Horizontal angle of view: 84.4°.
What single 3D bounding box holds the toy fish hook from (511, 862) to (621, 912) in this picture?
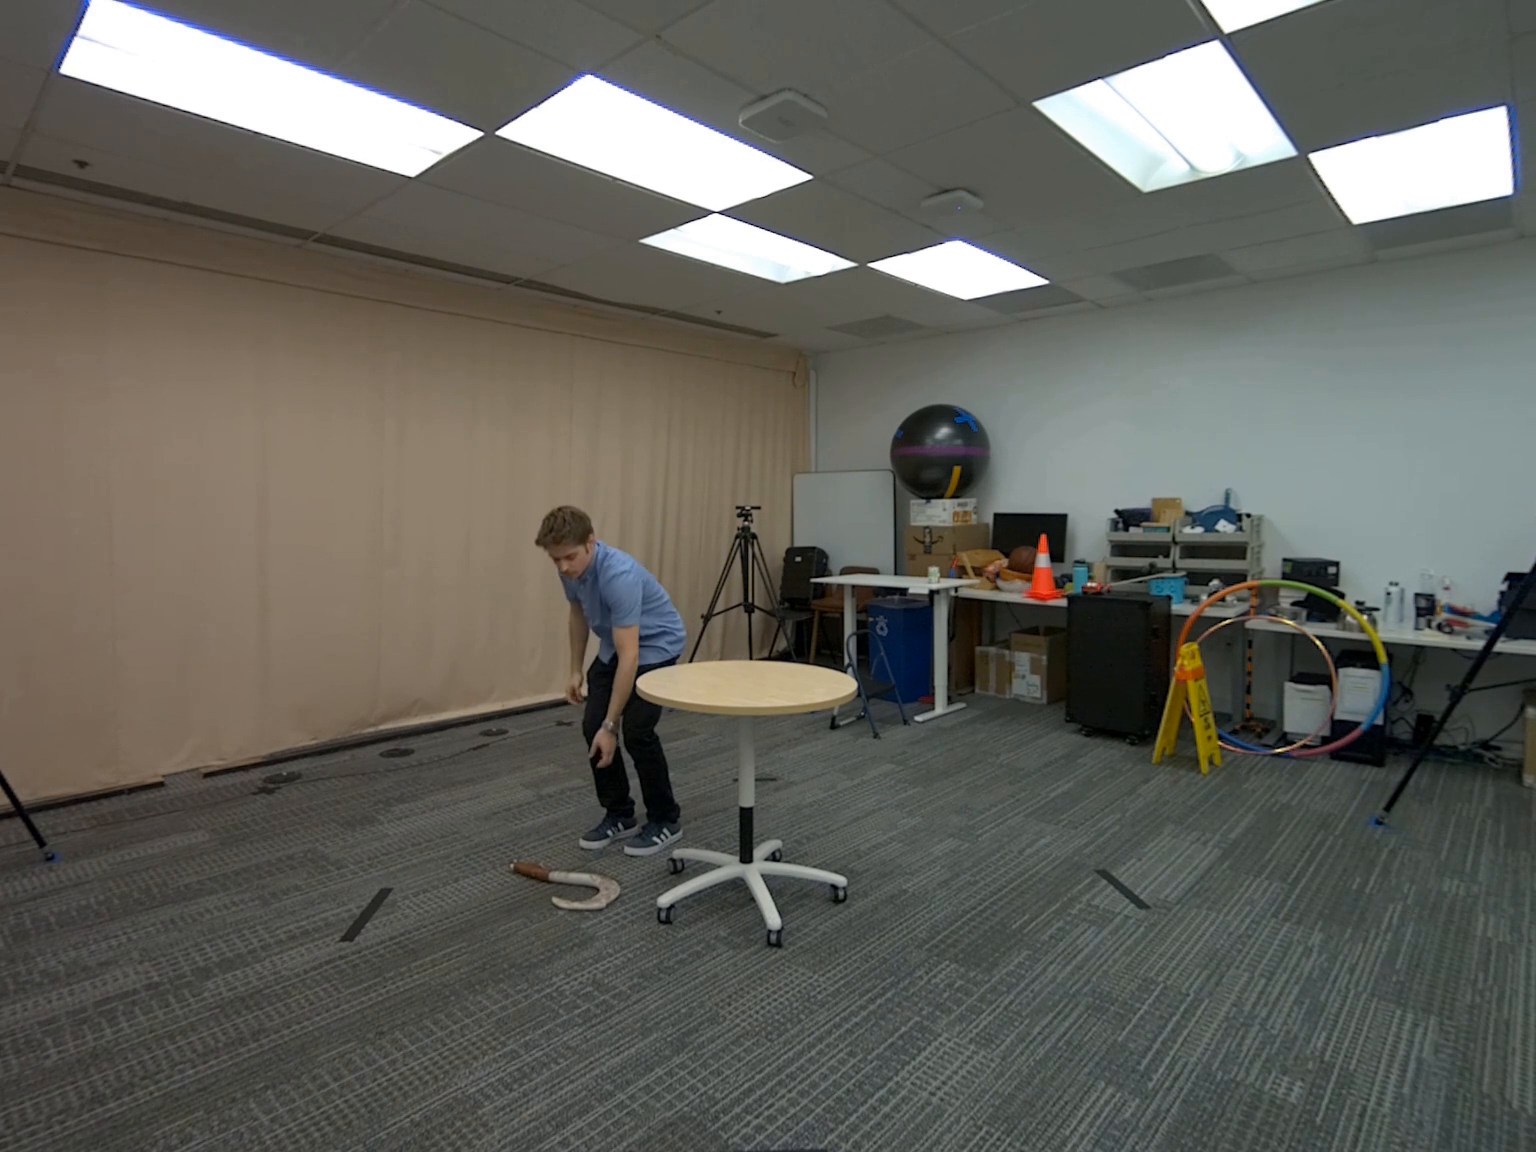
[{"bbox_3d":[-0.764,1.119,3.061,0.520,0.048,0.219,1,4,26],"label":"toy fish hook"}]
